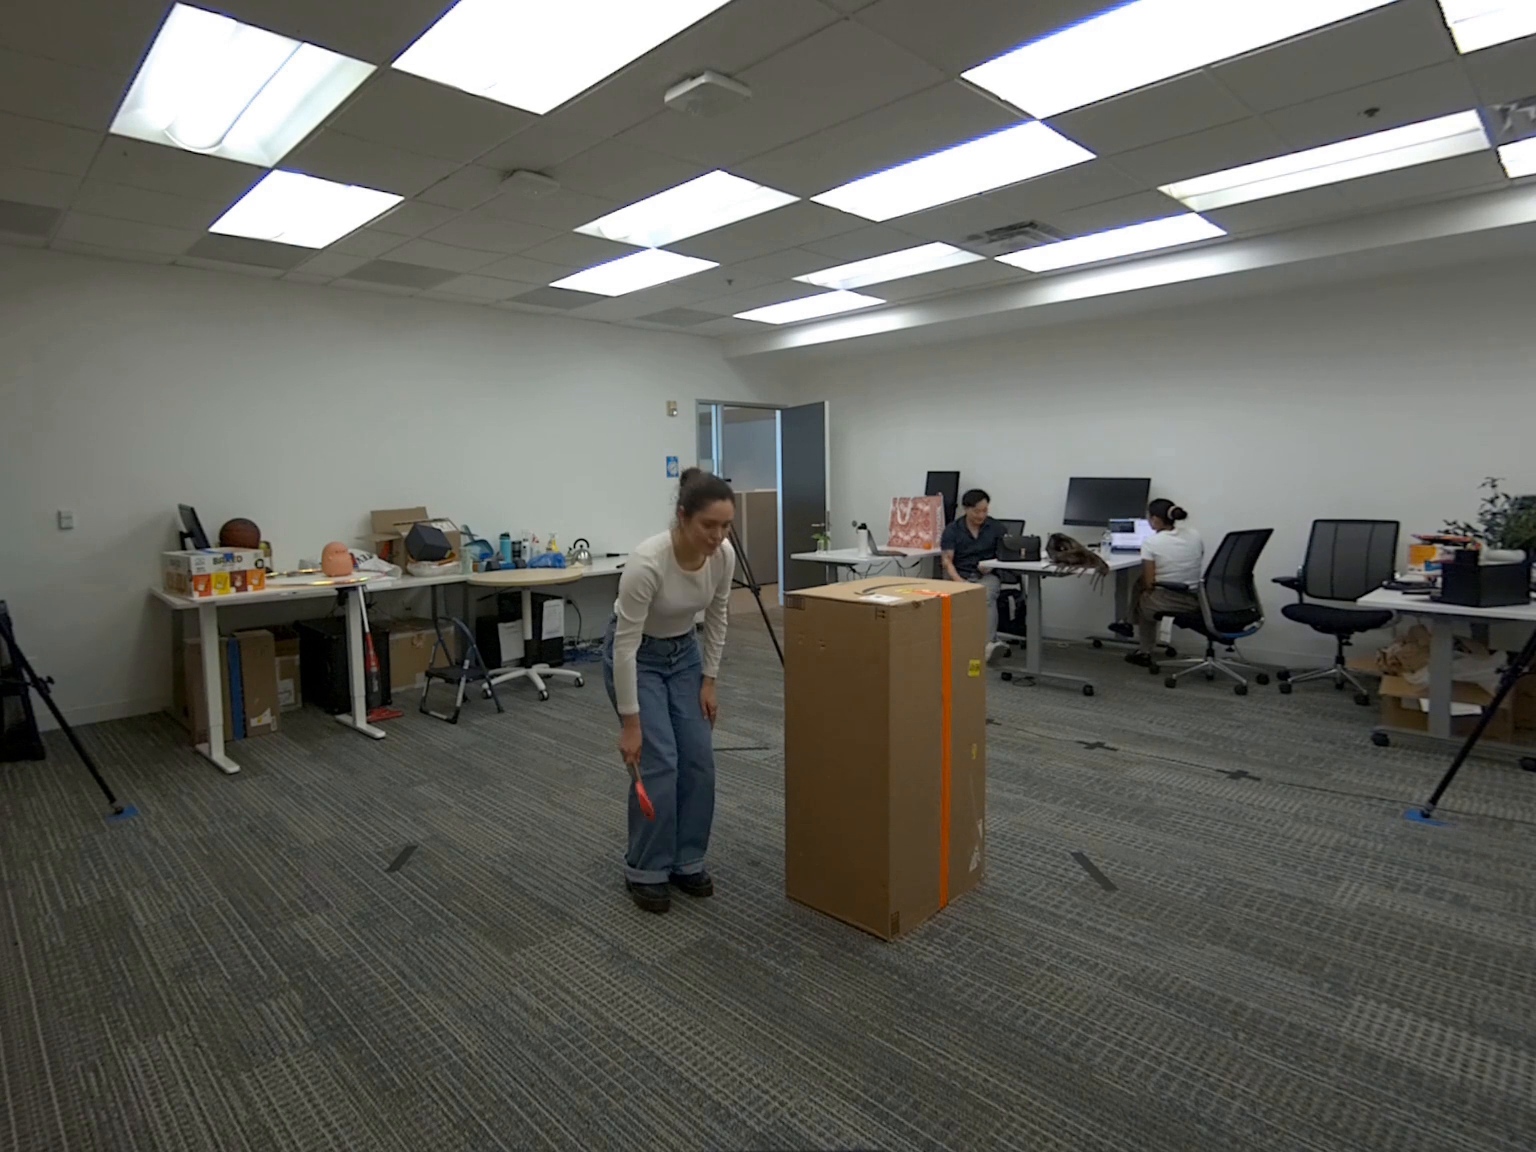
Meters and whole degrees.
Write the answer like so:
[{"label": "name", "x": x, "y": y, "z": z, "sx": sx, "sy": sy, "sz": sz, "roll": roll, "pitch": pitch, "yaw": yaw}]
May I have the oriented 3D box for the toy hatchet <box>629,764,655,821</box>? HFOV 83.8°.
[{"label": "toy hatchet", "x": -0.385, "y": 0.641, "z": 2.616, "sx": 0.029, "sy": 0.126, "sz": 0.281, "roll": -25, "pitch": 47, "yaw": -9}]
